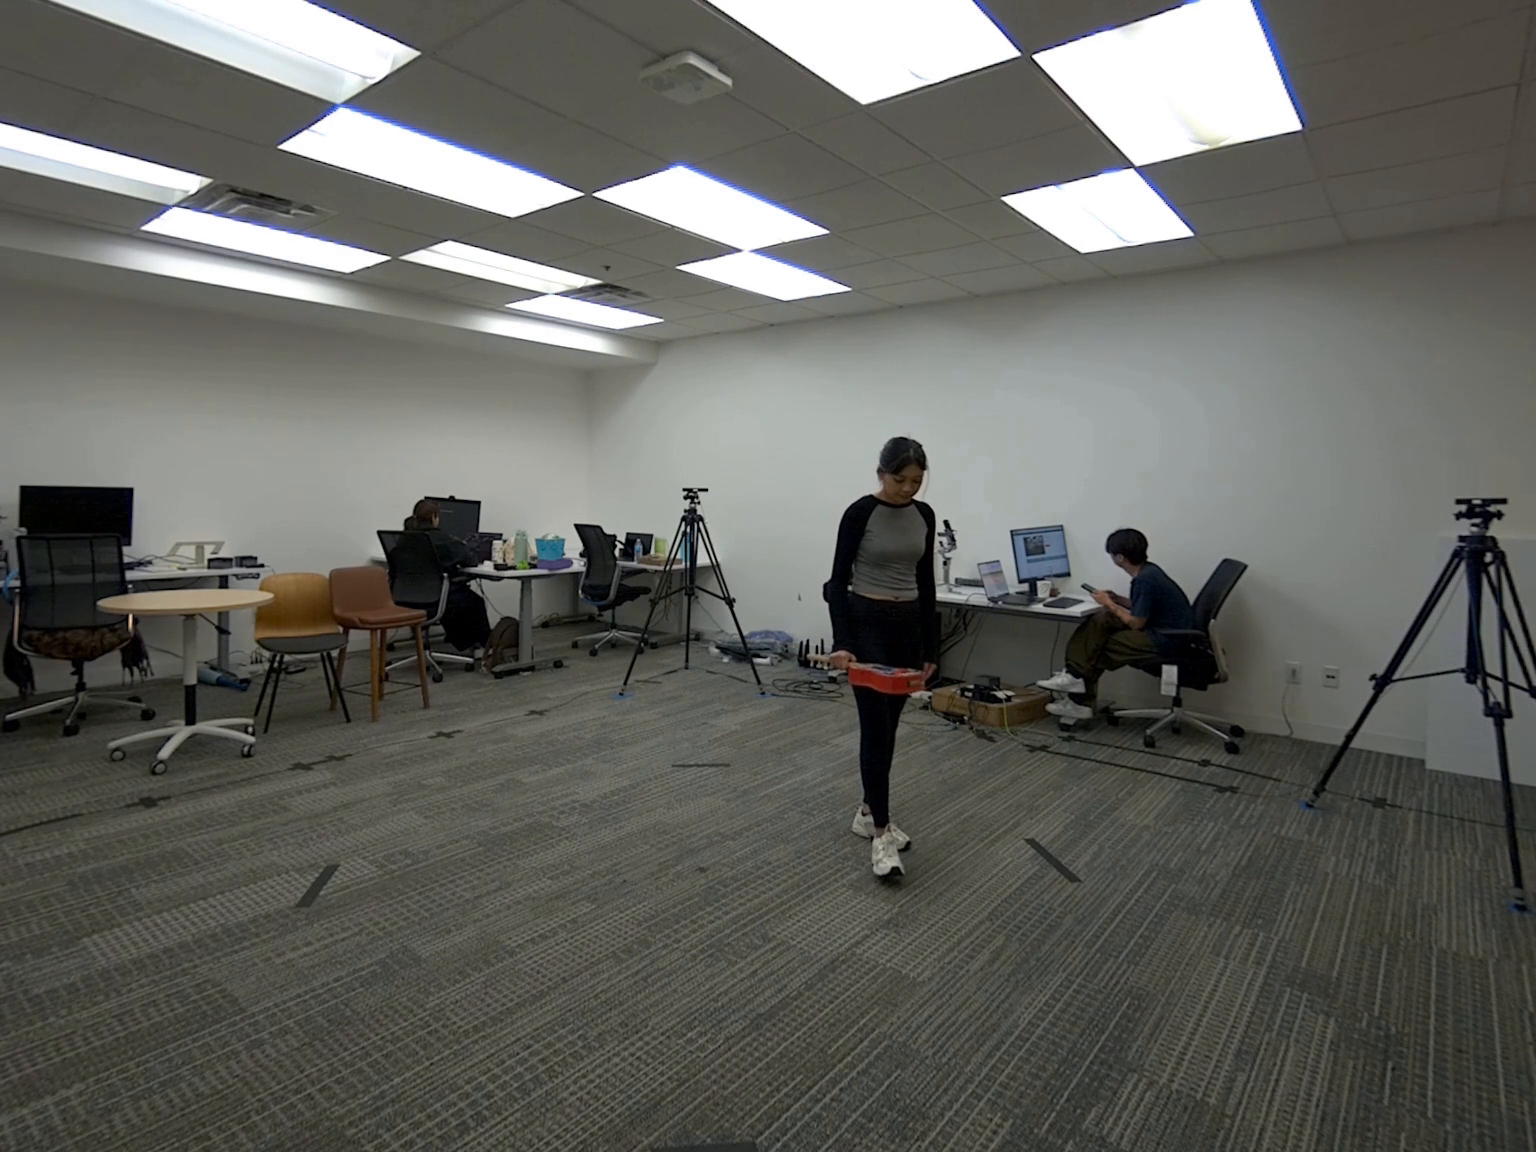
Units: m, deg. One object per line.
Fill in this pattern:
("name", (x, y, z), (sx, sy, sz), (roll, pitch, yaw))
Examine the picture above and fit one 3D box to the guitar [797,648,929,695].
("guitar", (0.337, 0.345, 3.104), (0.187, 0.070, 0.514), (1, 4, -34))
